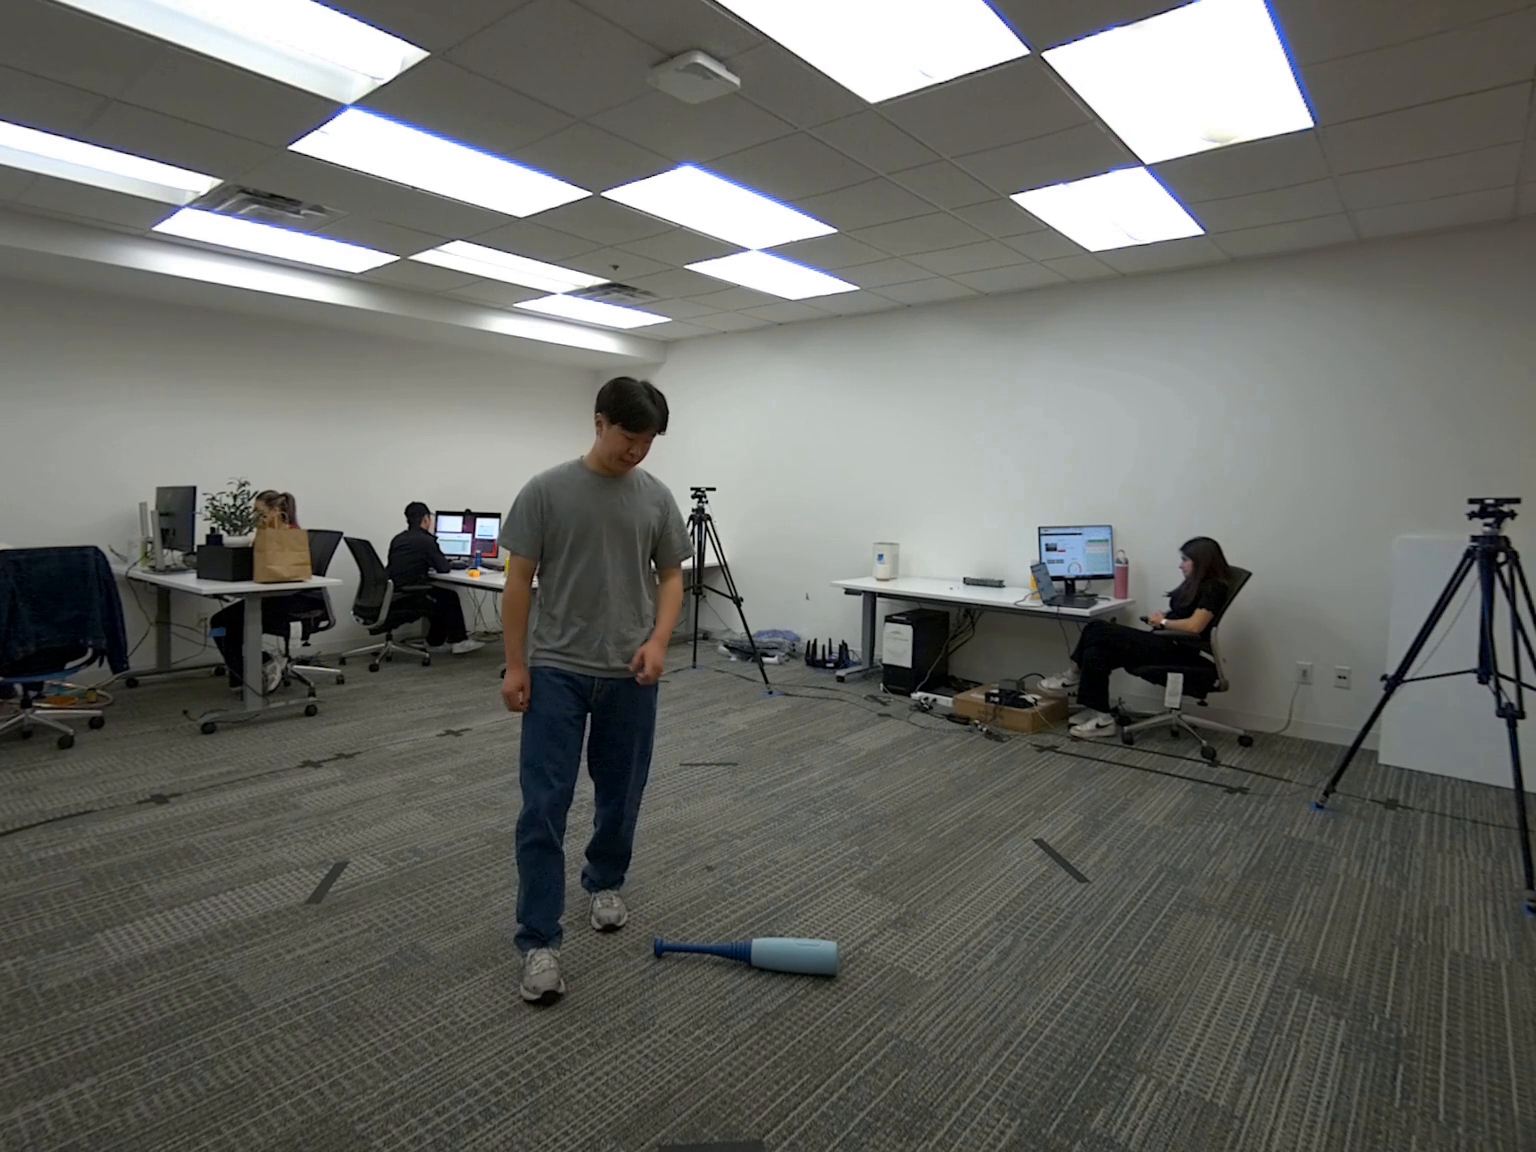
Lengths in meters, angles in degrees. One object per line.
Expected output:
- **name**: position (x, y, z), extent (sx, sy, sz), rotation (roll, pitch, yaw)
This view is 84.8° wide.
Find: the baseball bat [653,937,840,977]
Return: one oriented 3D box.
- **baseball bat**: position (-0.073, 1.096, 2.471), extent (0.547, 0.089, 0.089), rotation (-1, 4, 7)
